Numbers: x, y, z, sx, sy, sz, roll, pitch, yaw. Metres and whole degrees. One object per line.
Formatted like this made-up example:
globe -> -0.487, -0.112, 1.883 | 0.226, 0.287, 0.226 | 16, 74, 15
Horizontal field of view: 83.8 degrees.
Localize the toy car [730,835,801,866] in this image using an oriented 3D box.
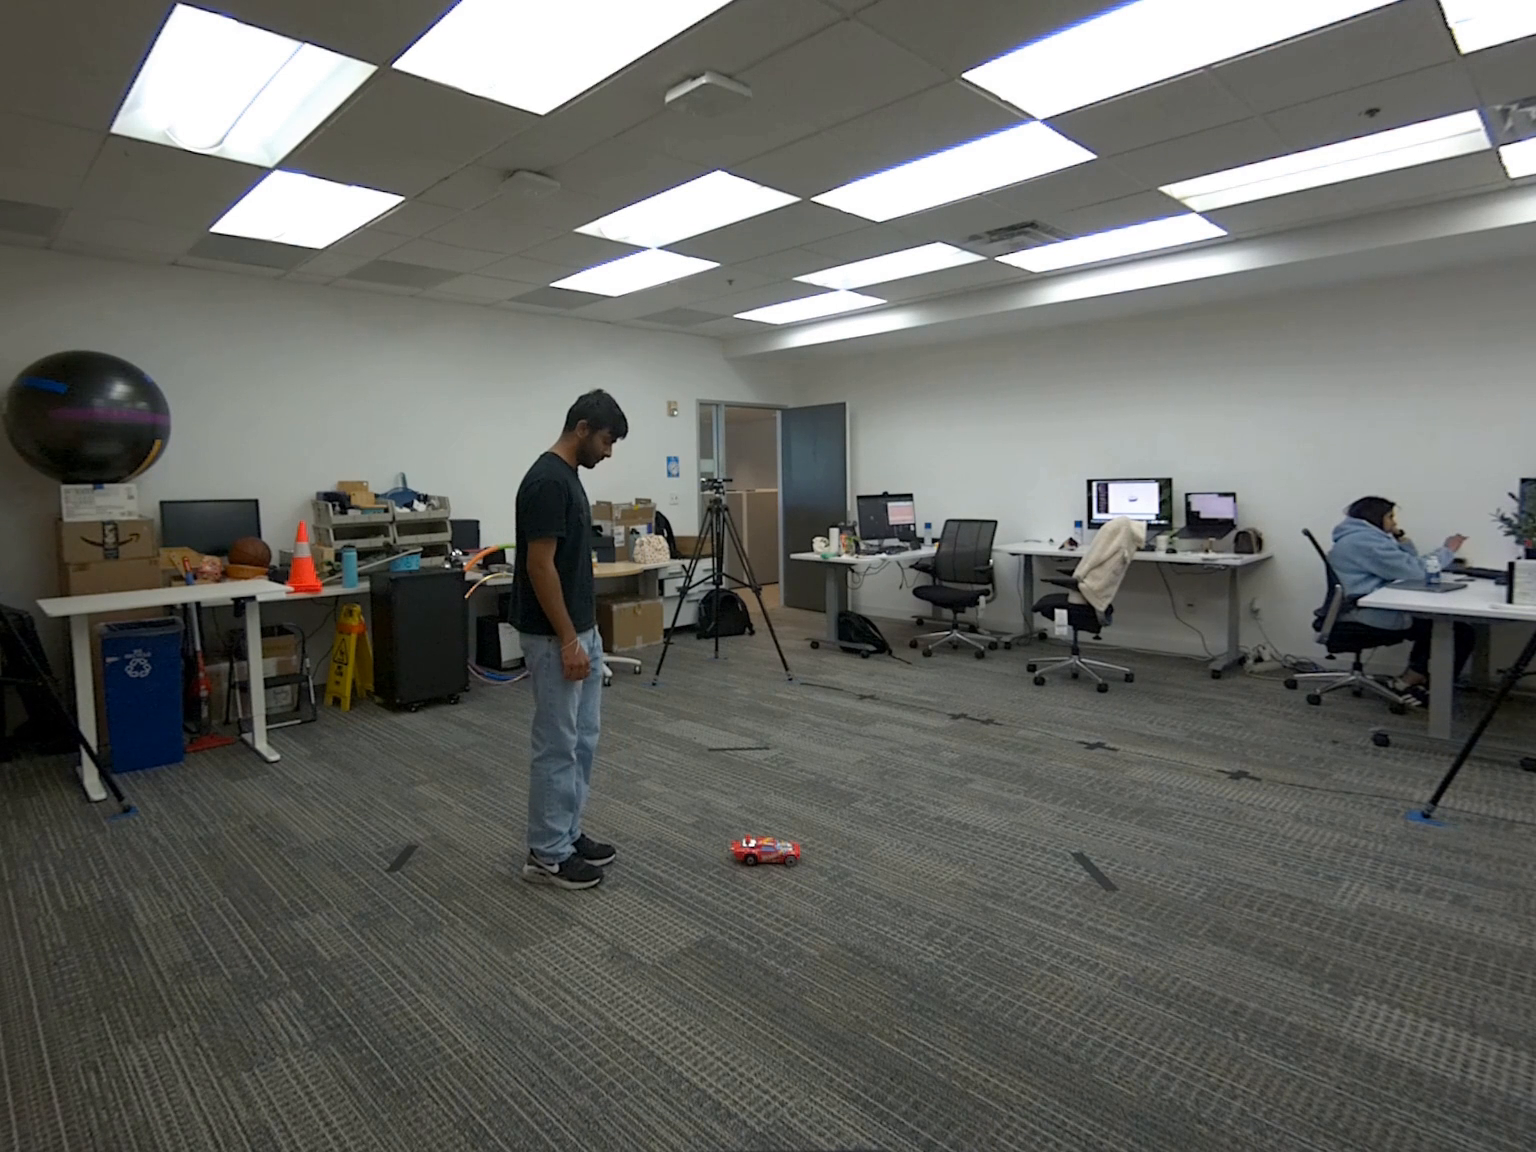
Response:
toy car -> -0.014, 1.005, 3.125 | 0.255, 0.083, 0.130 | 11, 5, 3
